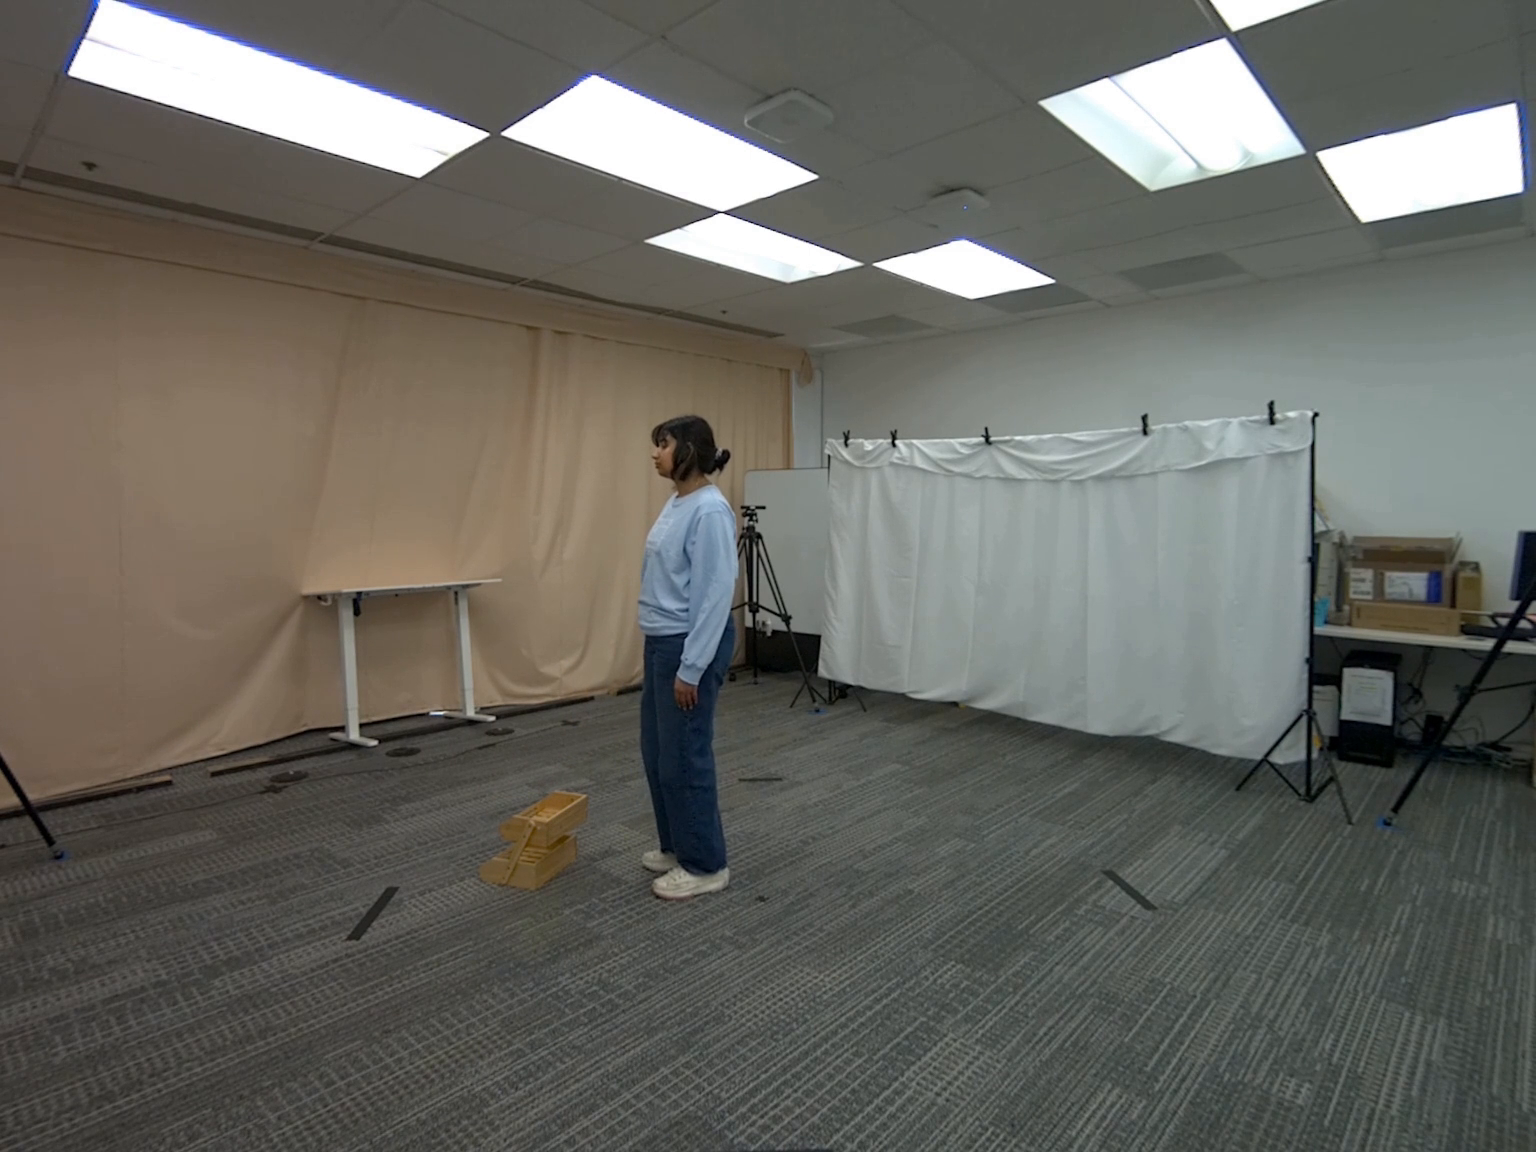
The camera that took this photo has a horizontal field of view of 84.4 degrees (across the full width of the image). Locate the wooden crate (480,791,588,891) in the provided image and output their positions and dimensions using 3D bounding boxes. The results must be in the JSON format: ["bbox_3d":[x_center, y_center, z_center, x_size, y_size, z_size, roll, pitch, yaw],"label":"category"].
[{"bbox_3d":[-0.901,1.007,3.234,0.308,0.273,0.318,2,4,19],"label":"wooden crate"}]
